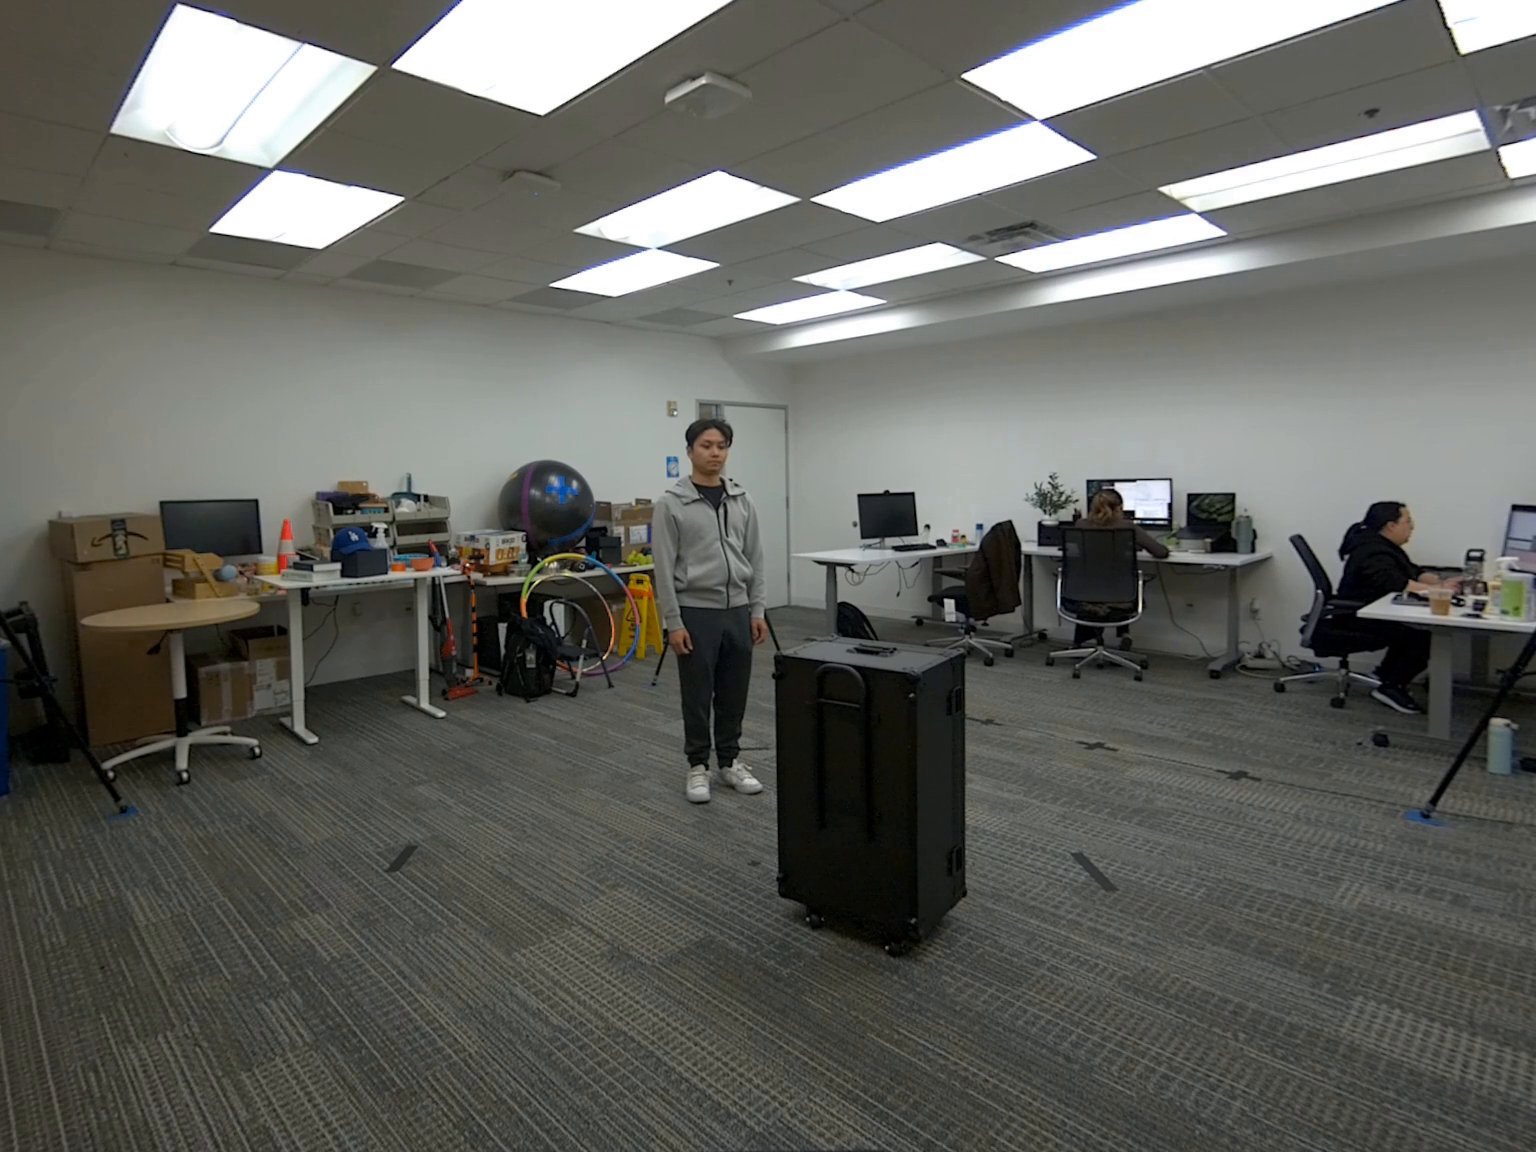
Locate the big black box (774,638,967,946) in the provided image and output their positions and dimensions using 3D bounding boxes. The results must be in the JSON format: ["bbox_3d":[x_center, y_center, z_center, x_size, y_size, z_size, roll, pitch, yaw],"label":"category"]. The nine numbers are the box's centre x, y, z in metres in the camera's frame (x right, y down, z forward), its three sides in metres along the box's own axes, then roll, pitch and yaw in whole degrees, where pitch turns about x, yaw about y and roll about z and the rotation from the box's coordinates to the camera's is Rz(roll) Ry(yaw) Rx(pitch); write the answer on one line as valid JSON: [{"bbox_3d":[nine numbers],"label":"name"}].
[{"bbox_3d":[0.327,0.662,2.673,0.536,0.858,0.386,2,6,37],"label":"big black box"}]
